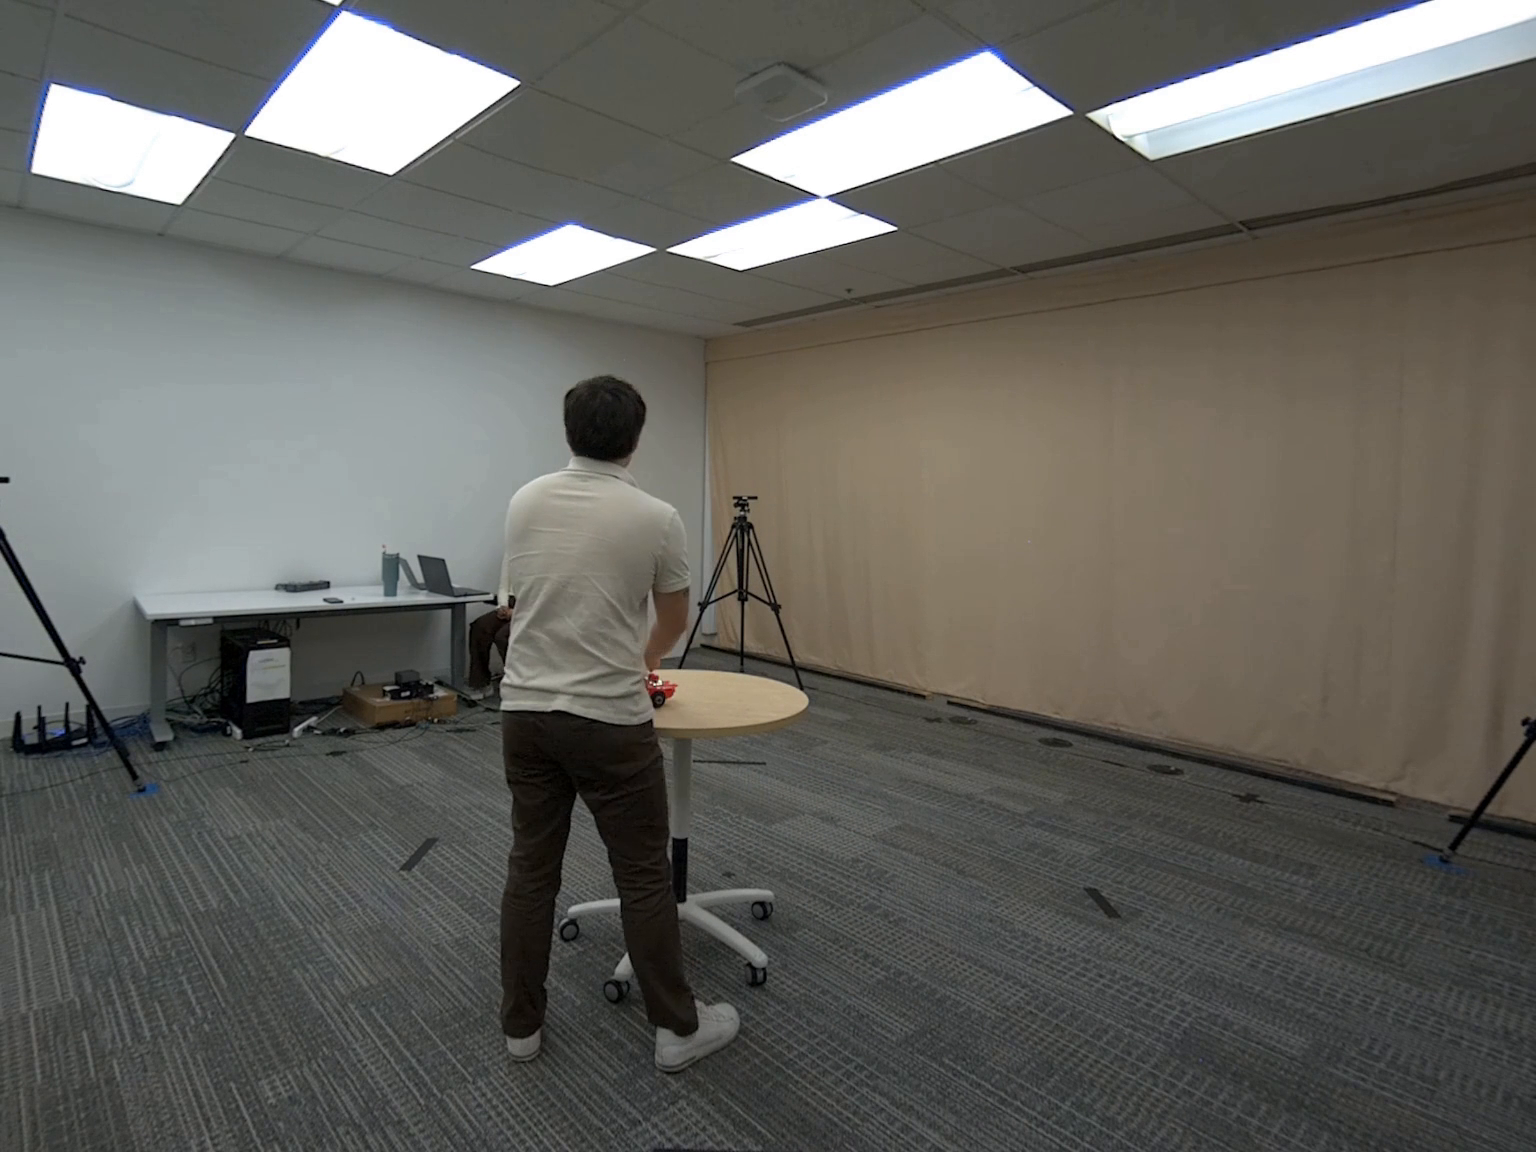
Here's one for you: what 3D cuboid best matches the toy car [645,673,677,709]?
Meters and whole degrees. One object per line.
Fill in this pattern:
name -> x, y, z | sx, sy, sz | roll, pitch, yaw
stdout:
toy car -> -0.390, 0.349, 2.406 | 0.251, 0.082, 0.133 | -15, 12, -29
